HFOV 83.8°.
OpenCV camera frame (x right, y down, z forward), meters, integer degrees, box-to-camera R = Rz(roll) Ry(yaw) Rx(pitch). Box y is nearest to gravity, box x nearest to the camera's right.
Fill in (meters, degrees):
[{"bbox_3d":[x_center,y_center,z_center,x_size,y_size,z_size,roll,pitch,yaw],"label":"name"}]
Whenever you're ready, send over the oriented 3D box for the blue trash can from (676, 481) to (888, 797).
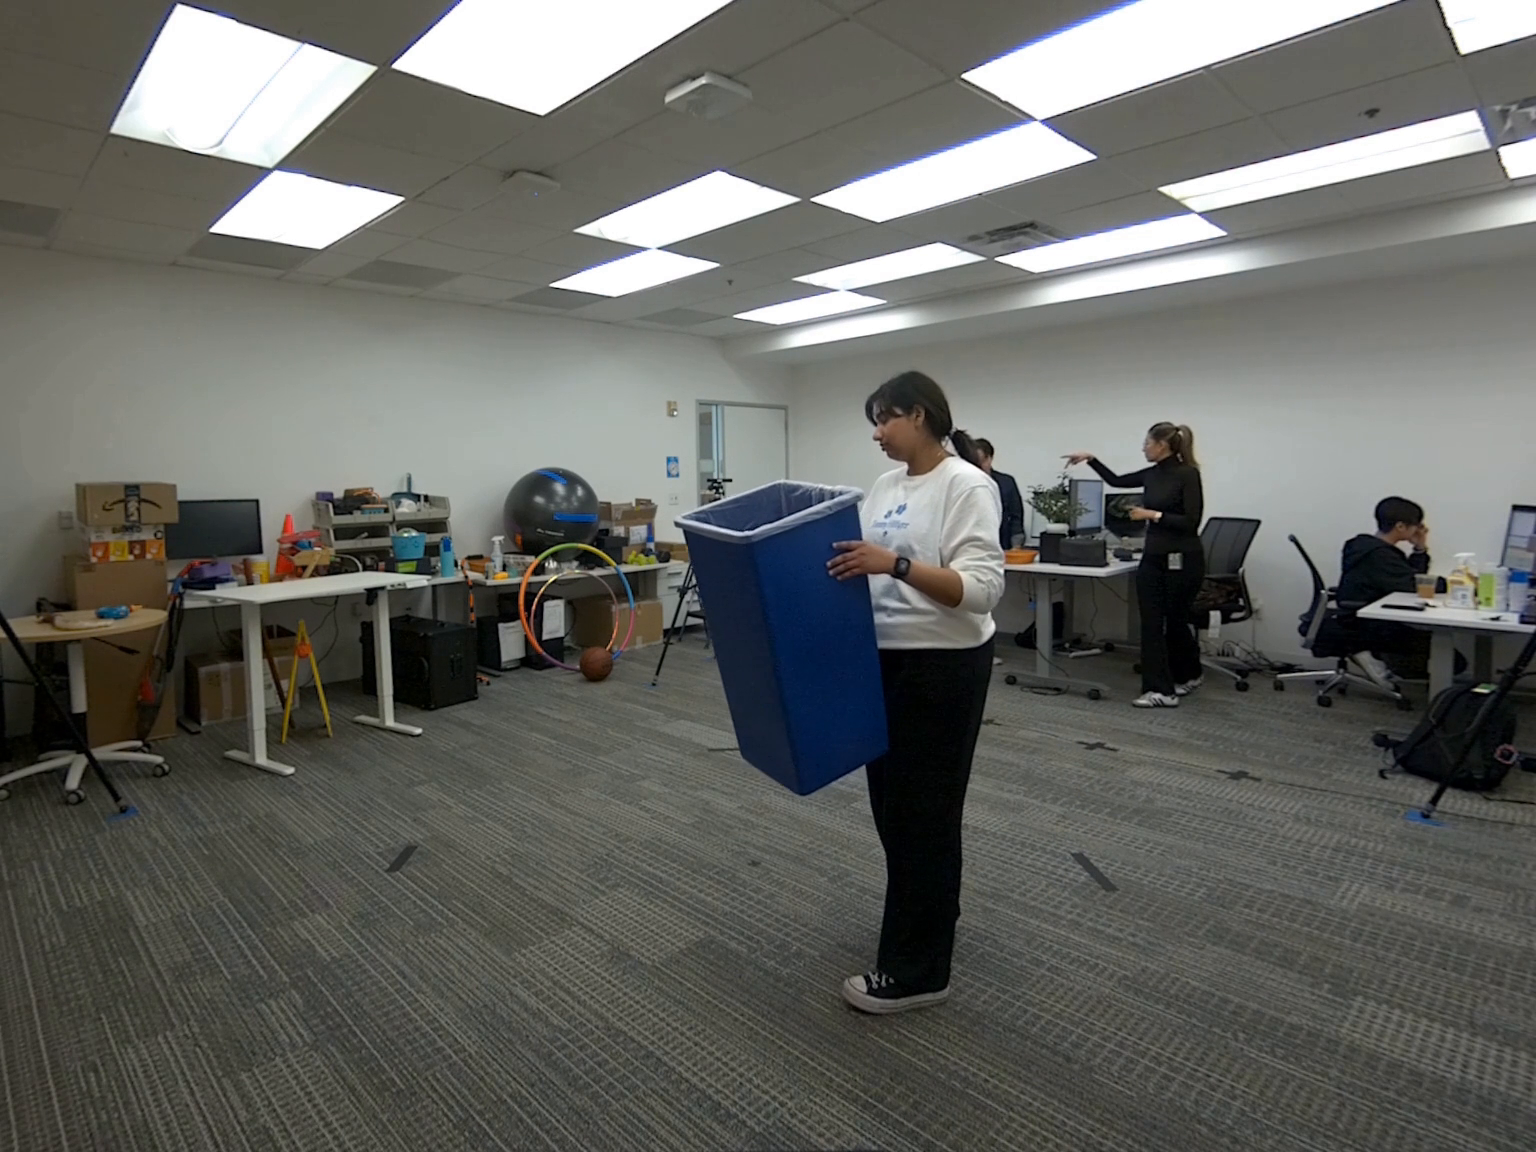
[{"bbox_3d":[0.064,0.152,2.224,0.368,0.702,0.390,-20,17,-29],"label":"blue trash can"}]
